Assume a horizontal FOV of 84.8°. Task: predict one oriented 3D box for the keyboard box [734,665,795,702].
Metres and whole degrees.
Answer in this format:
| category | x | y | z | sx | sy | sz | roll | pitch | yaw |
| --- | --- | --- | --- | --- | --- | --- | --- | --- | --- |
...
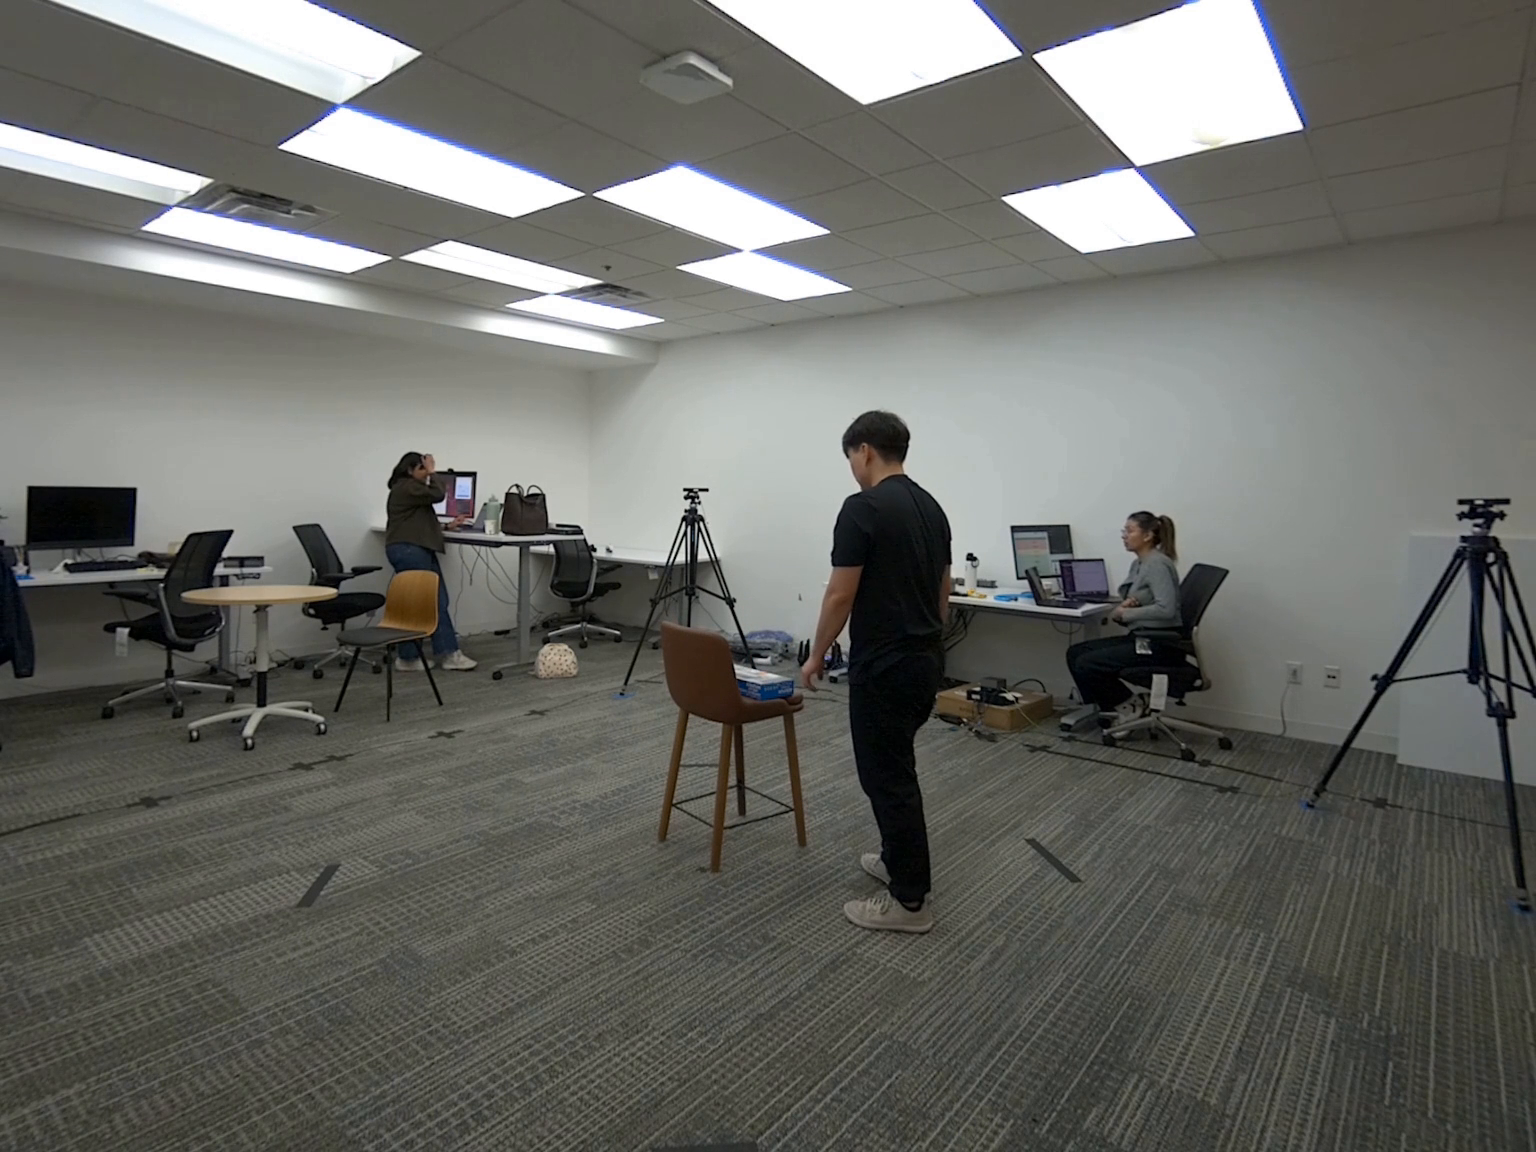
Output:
| category | x | y | z | sx | sy | sz | roll | pitch | yaw |
| --- | --- | --- | --- | --- | --- | --- | --- | --- | --- |
| keyboard box | -0.116 | 0.405 | 3.352 | 0.170 | 0.059 | 0.452 | -3 | 7 | -41 |
